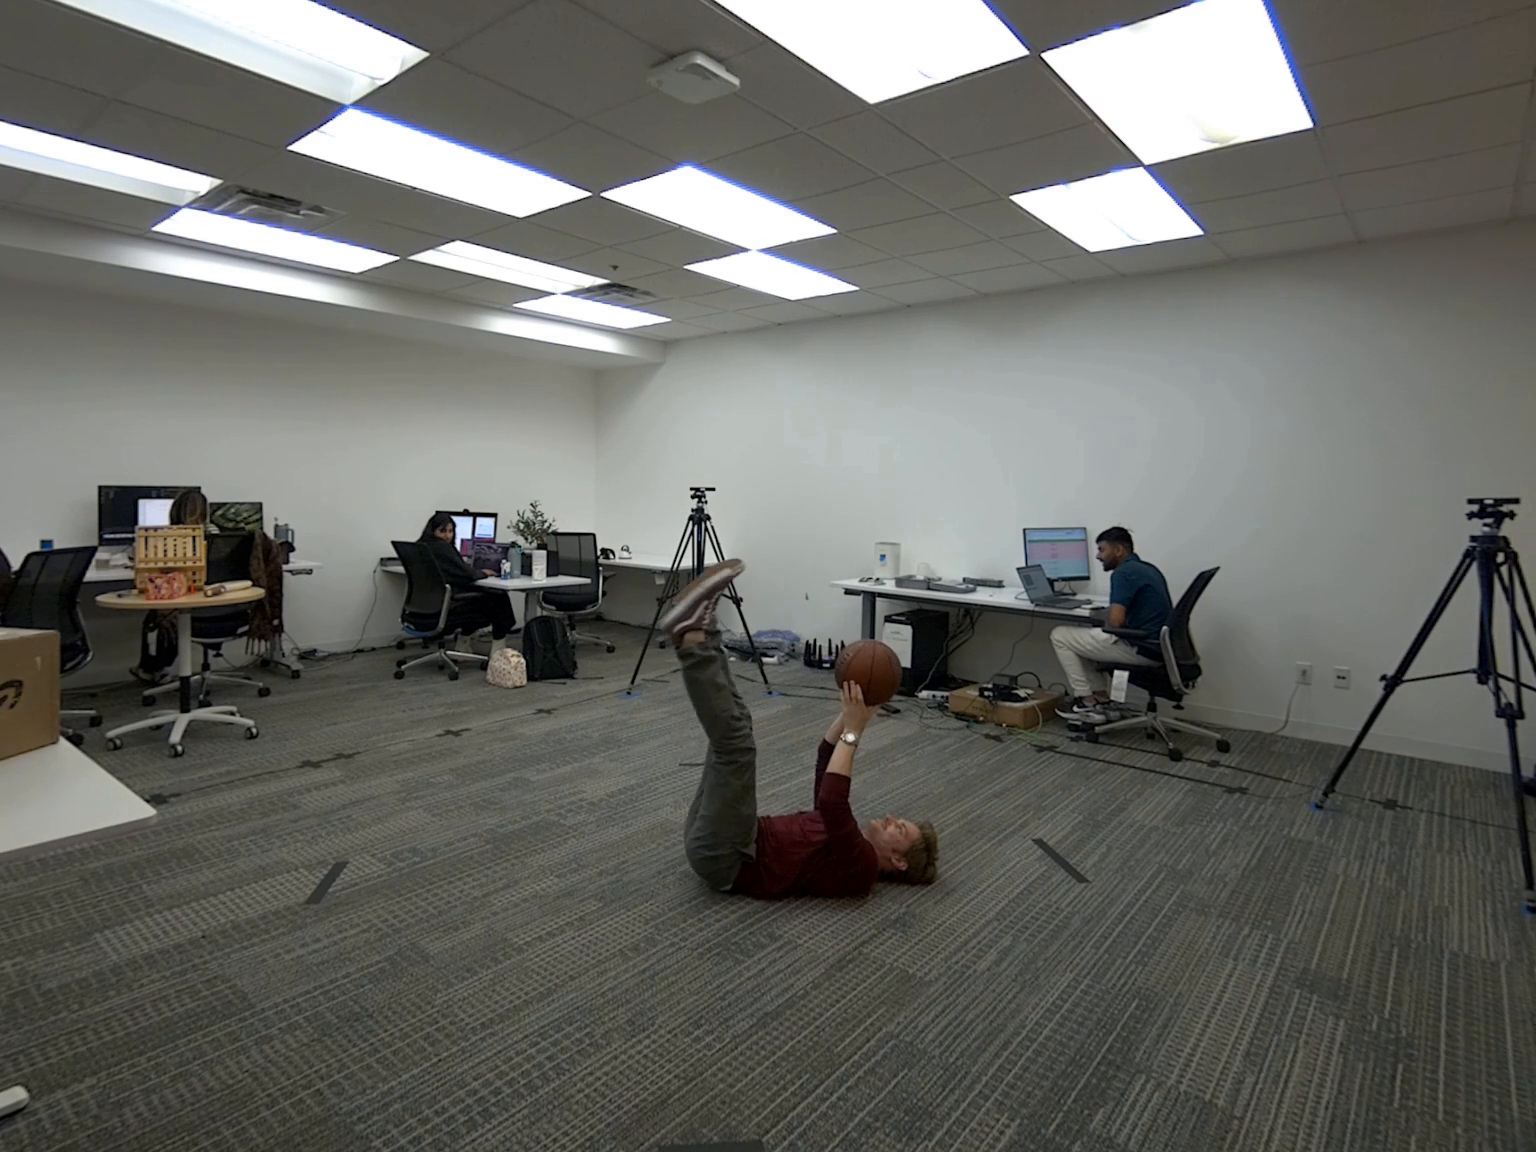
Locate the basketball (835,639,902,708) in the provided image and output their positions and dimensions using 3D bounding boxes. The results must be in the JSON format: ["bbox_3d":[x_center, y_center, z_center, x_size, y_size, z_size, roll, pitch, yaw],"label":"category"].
[{"bbox_3d":[0.355,0.344,3.055,0.235,0.235,0.237,1,4,-2],"label":"basketball"}]
